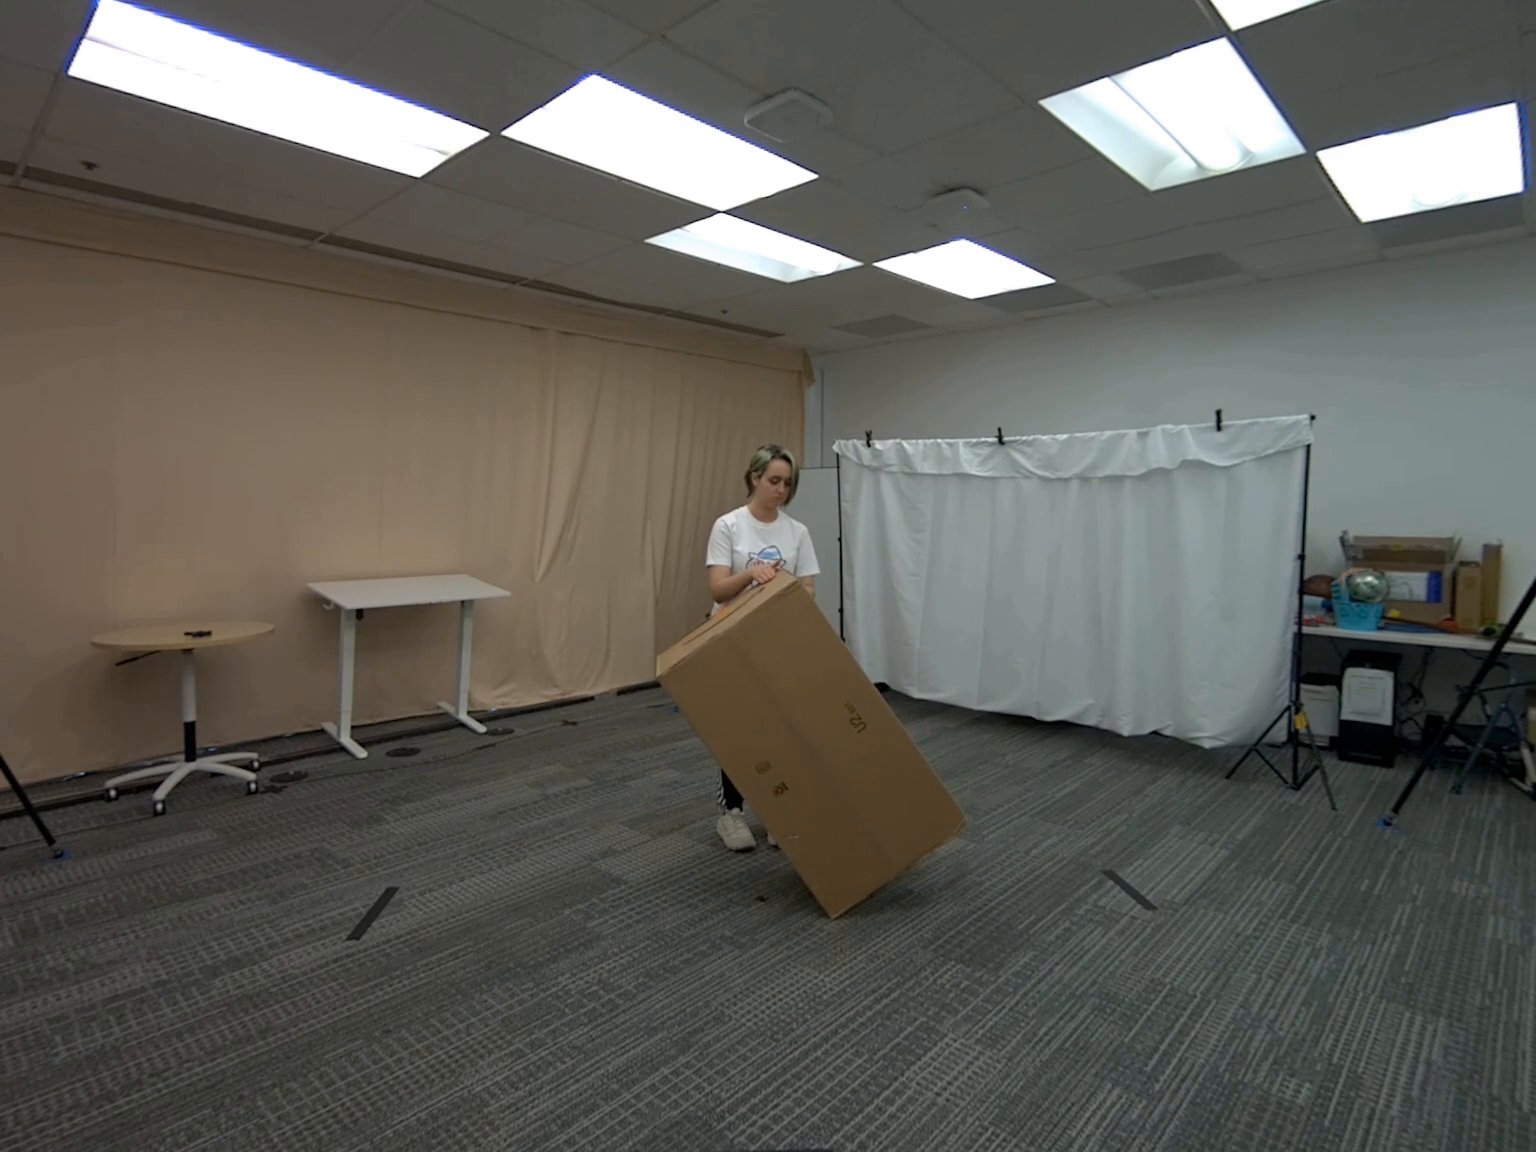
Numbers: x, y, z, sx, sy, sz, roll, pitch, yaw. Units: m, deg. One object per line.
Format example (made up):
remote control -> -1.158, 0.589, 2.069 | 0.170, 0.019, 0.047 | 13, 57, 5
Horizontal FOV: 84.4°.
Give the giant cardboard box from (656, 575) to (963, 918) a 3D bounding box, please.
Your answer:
giant cardboard box -> 0.137, 0.568, 2.998 | 0.577, 1.020, 0.429 | -35, 5, -1
